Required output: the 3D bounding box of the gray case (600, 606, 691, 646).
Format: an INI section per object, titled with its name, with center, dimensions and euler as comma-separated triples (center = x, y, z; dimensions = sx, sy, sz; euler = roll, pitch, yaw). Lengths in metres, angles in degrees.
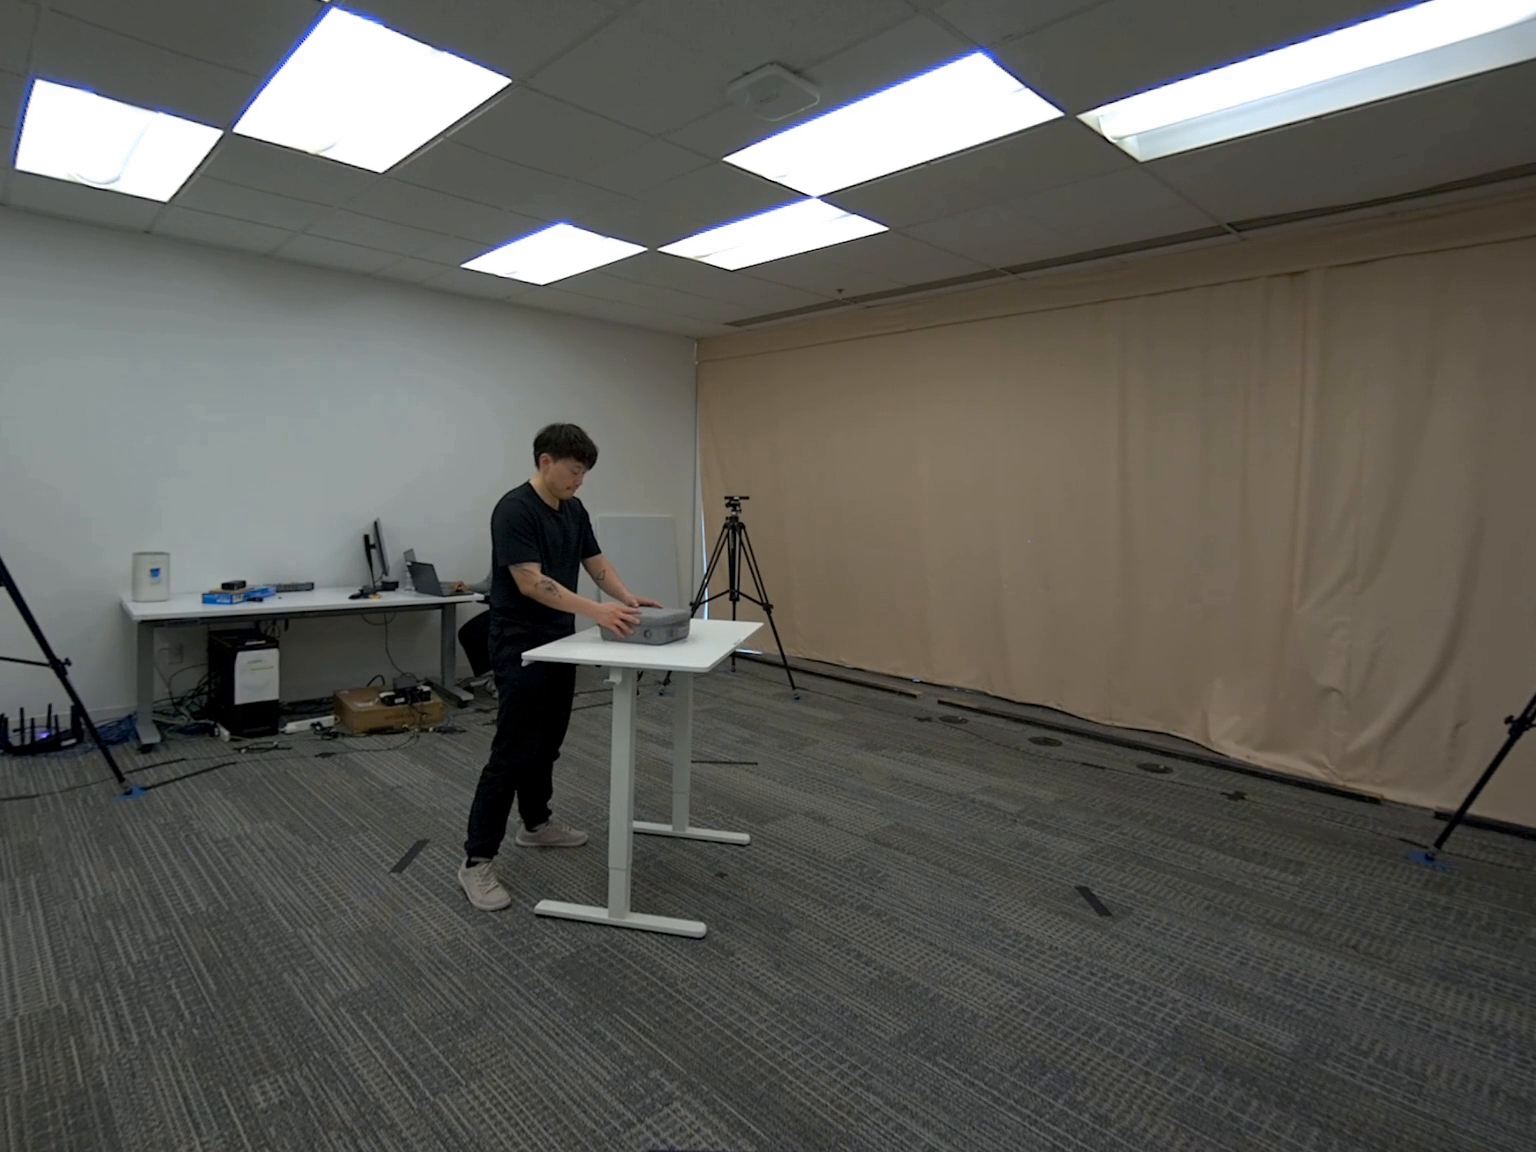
[gray case]
center = -0.433, 0.175, 2.991
dimensions = 0.265, 0.104, 0.252
euler = 3, 4, 24
